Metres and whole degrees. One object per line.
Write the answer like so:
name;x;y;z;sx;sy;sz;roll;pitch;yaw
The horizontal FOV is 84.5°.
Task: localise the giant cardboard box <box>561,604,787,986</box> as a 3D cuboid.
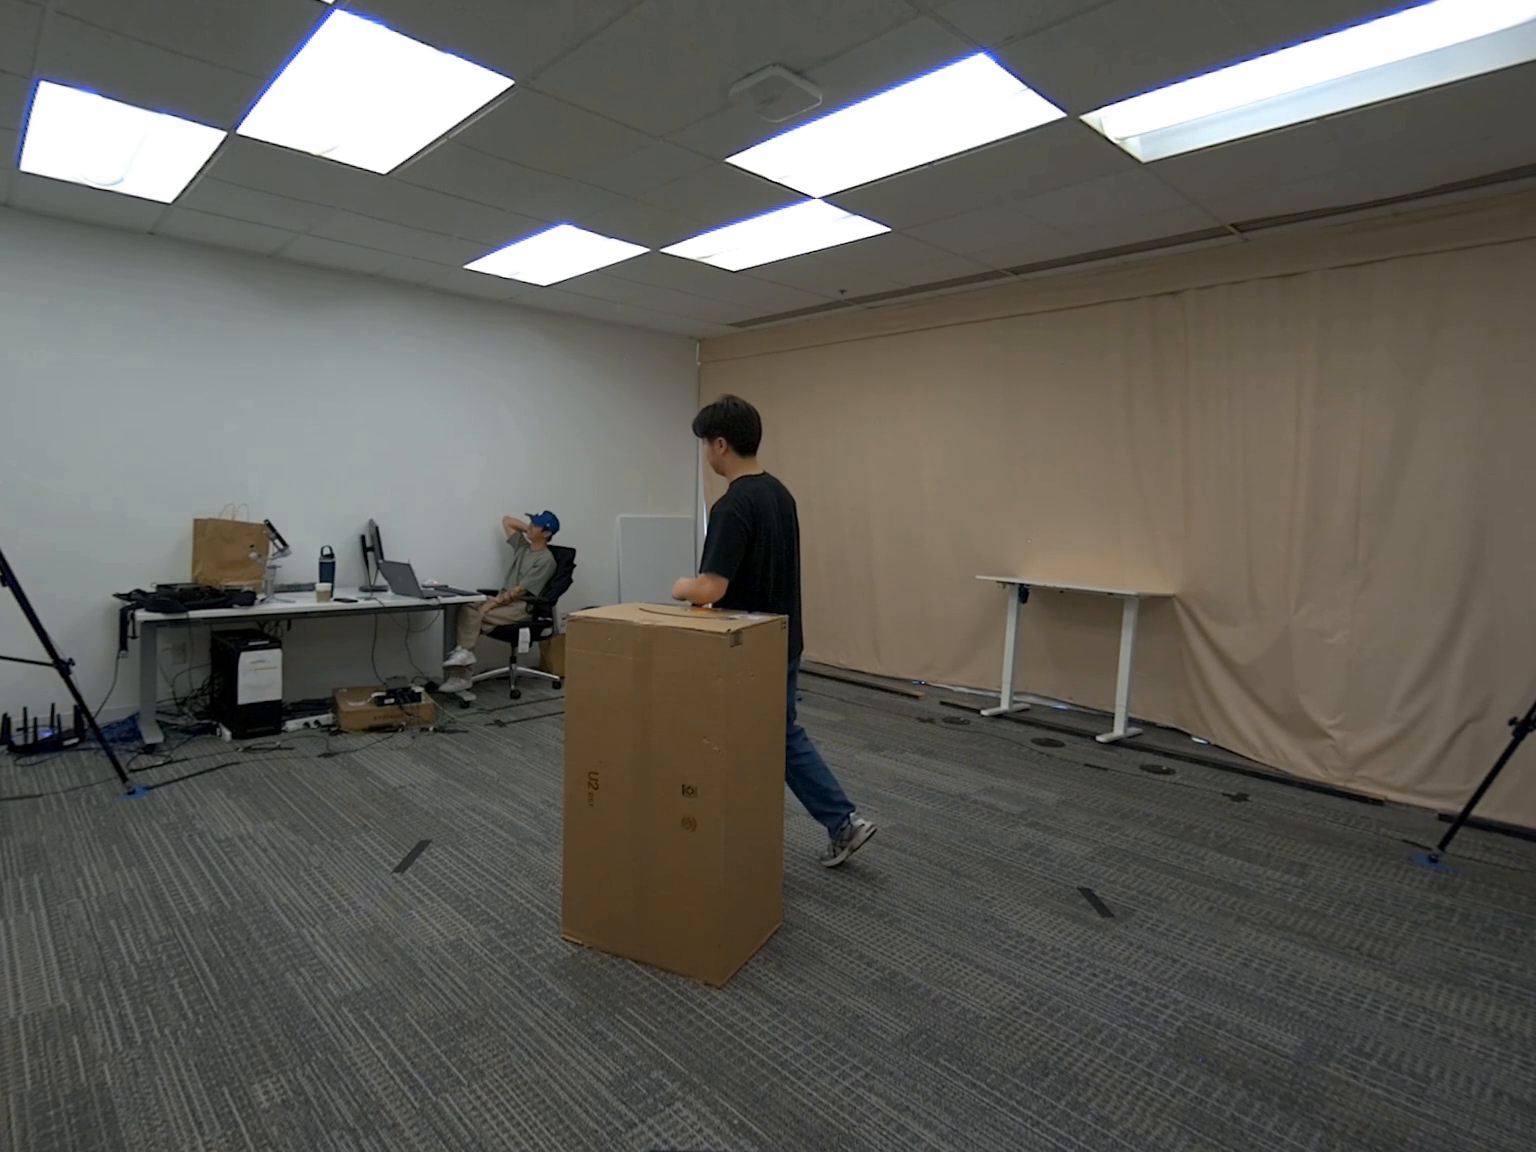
giant cardboard box;-0.296;0.630;2.675;0.596;1.025;0.438;3;2;28
